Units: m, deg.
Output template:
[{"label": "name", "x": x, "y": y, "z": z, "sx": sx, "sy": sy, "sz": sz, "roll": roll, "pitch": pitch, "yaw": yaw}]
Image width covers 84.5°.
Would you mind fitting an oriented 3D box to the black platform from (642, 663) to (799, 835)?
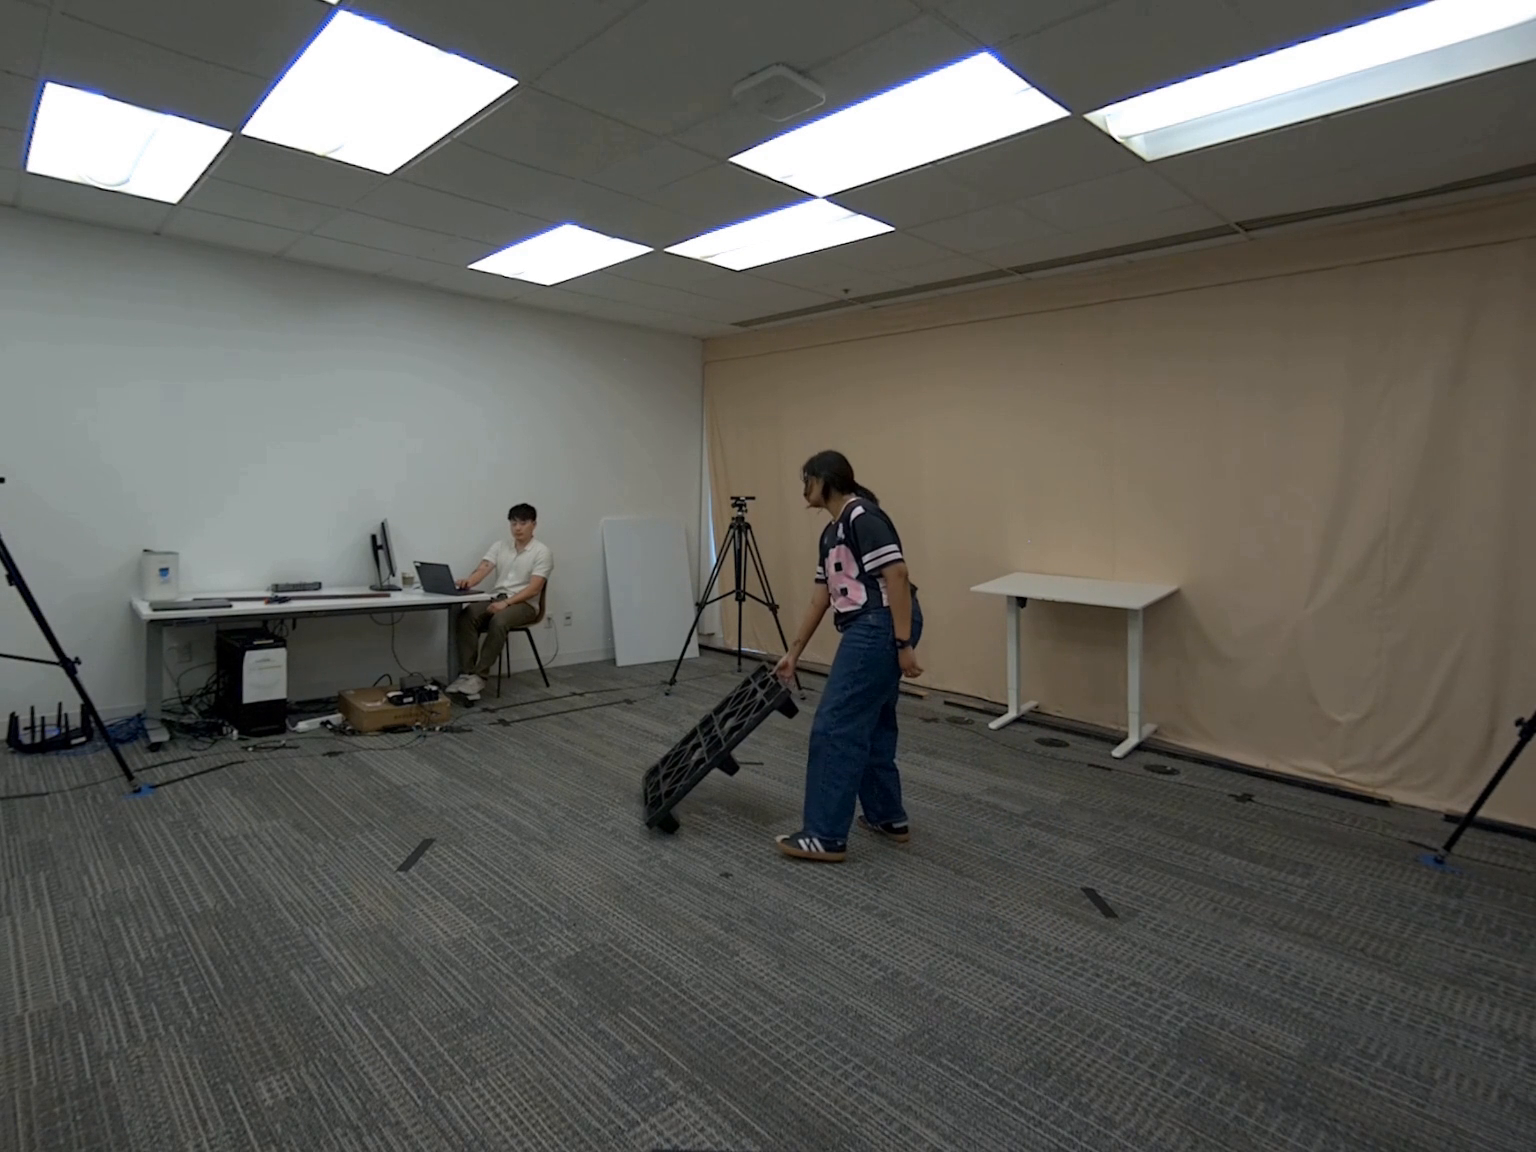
[{"label": "black platform", "x": -0.210, "y": 0.738, "z": 3.707, "sx": 0.805, "sy": 0.142, "sz": 0.611, "roll": -44, "pitch": 11, "yaw": -3}]
